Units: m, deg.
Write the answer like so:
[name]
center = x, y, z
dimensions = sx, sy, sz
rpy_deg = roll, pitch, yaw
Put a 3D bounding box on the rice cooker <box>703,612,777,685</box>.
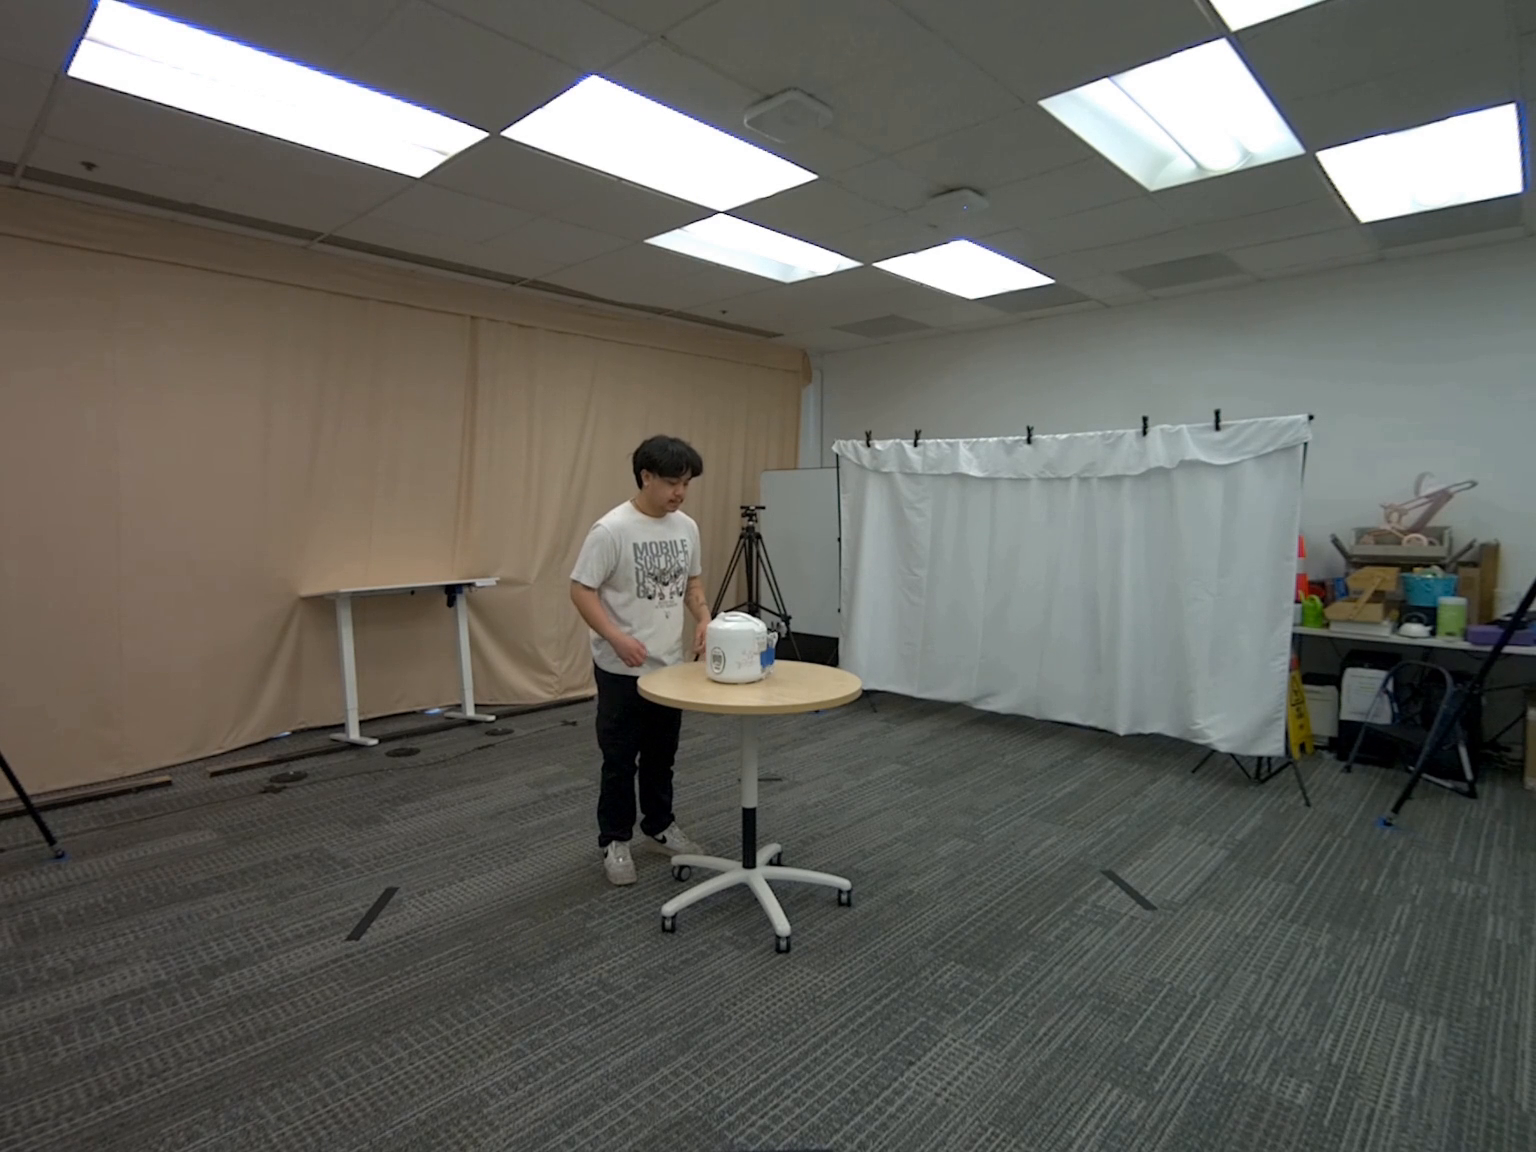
[rice cooker]
center = -0.106, 0.237, 2.883
dimensions = 0.227, 0.232, 0.211
rpy_deg = 3, 4, 35
